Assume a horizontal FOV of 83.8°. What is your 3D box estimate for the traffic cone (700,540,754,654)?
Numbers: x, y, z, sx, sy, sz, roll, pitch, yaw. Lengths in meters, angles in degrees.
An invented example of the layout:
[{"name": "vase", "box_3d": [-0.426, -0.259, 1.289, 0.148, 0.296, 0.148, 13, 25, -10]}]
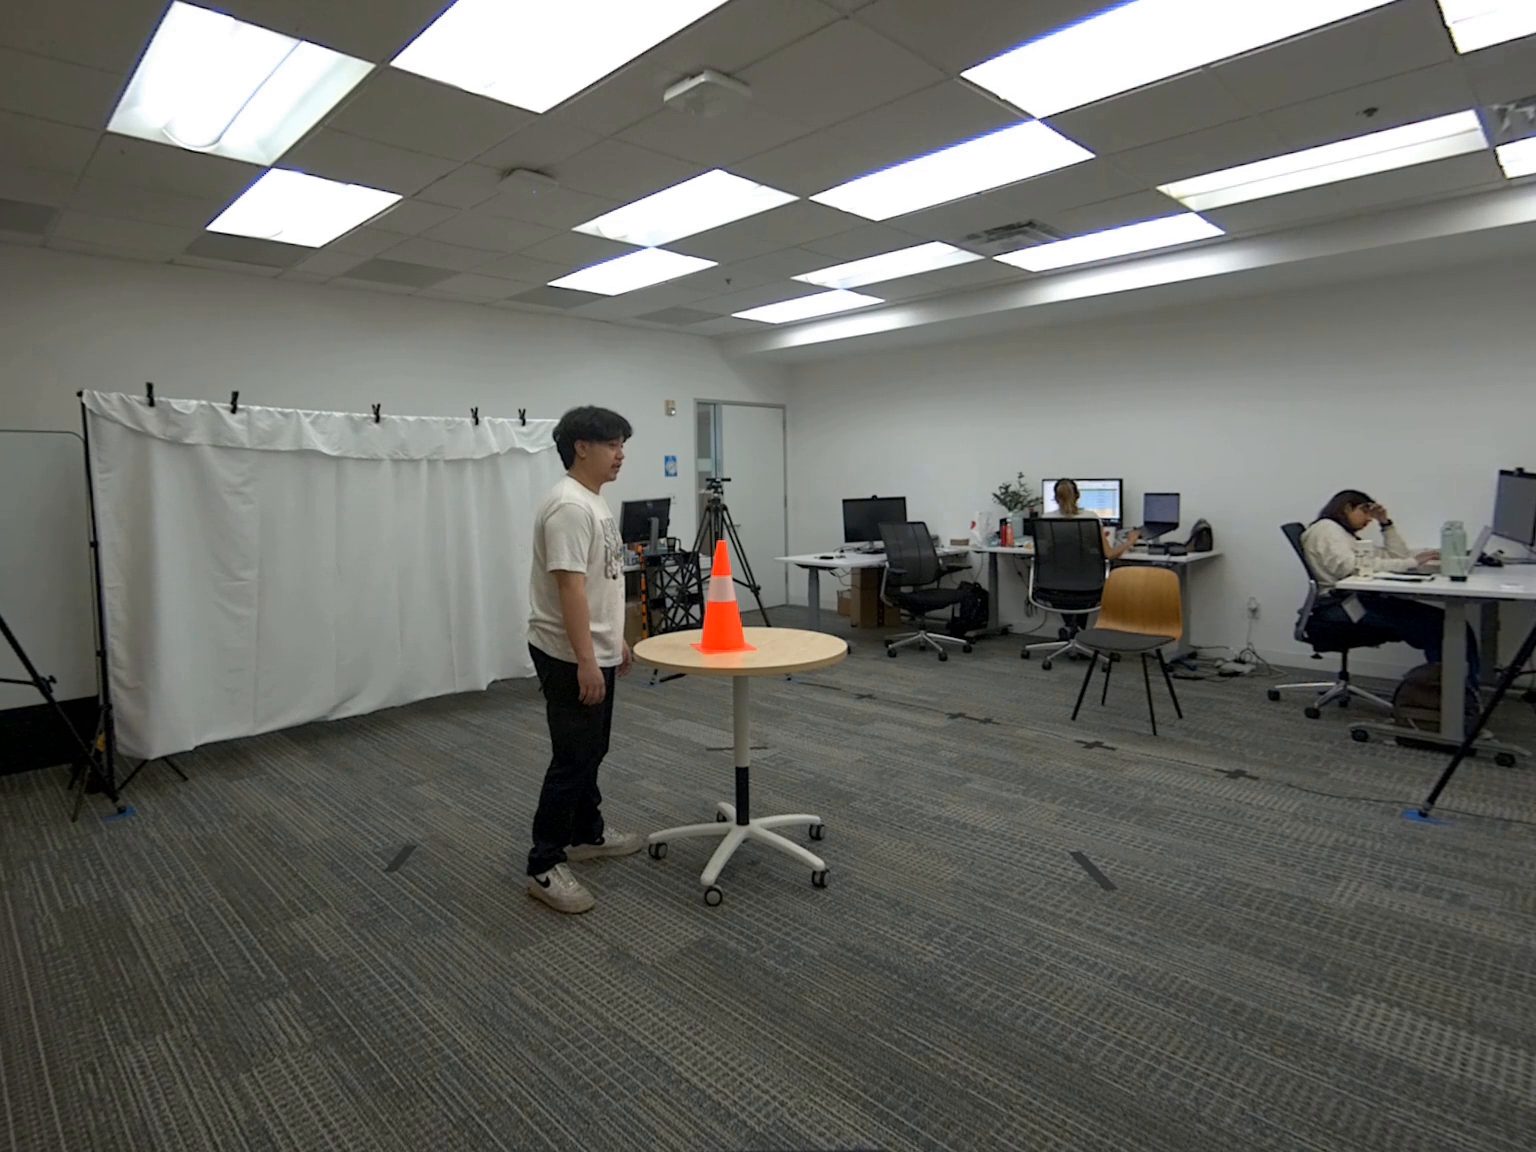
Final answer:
[{"name": "traffic cone", "box_3d": [-0.170, 0.068, 3.036, 0.199, 0.383, 0.209, -1, 2, -23]}]
